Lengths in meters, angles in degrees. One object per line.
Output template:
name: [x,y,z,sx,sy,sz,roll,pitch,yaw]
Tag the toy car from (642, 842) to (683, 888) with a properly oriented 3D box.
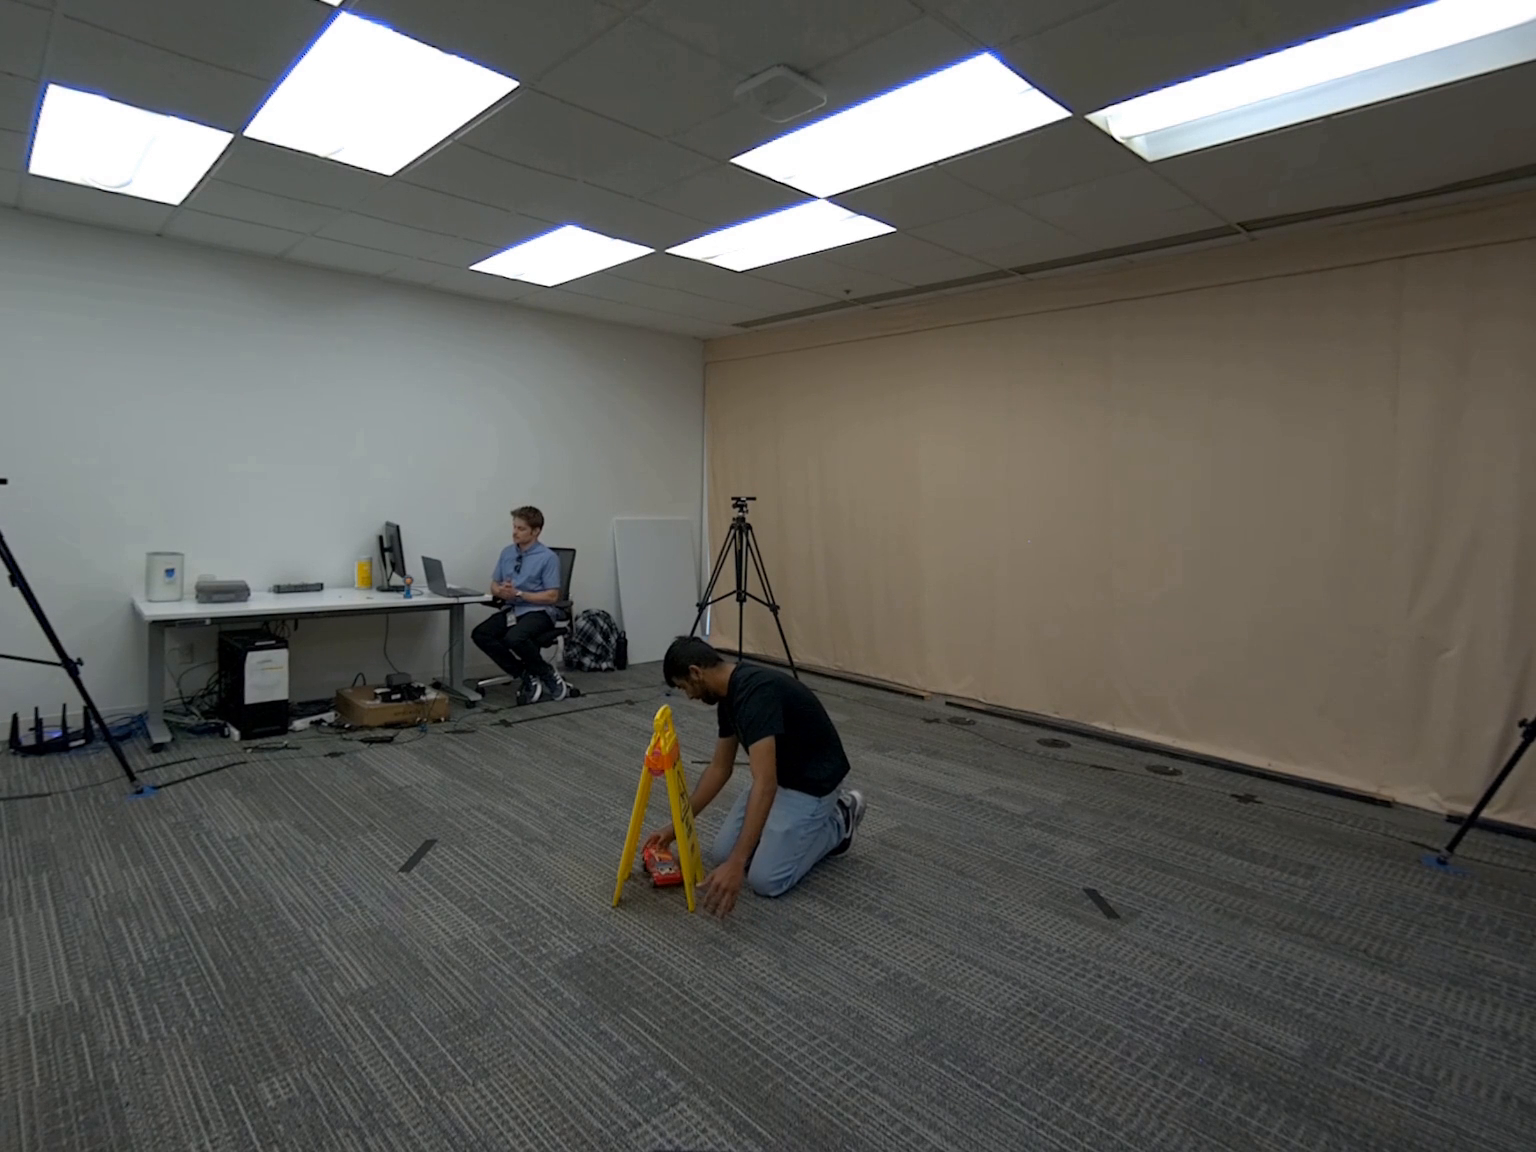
toy car: [-0.400,1.060,3.116,0.129,0.082,0.260,-5,14,-18]
